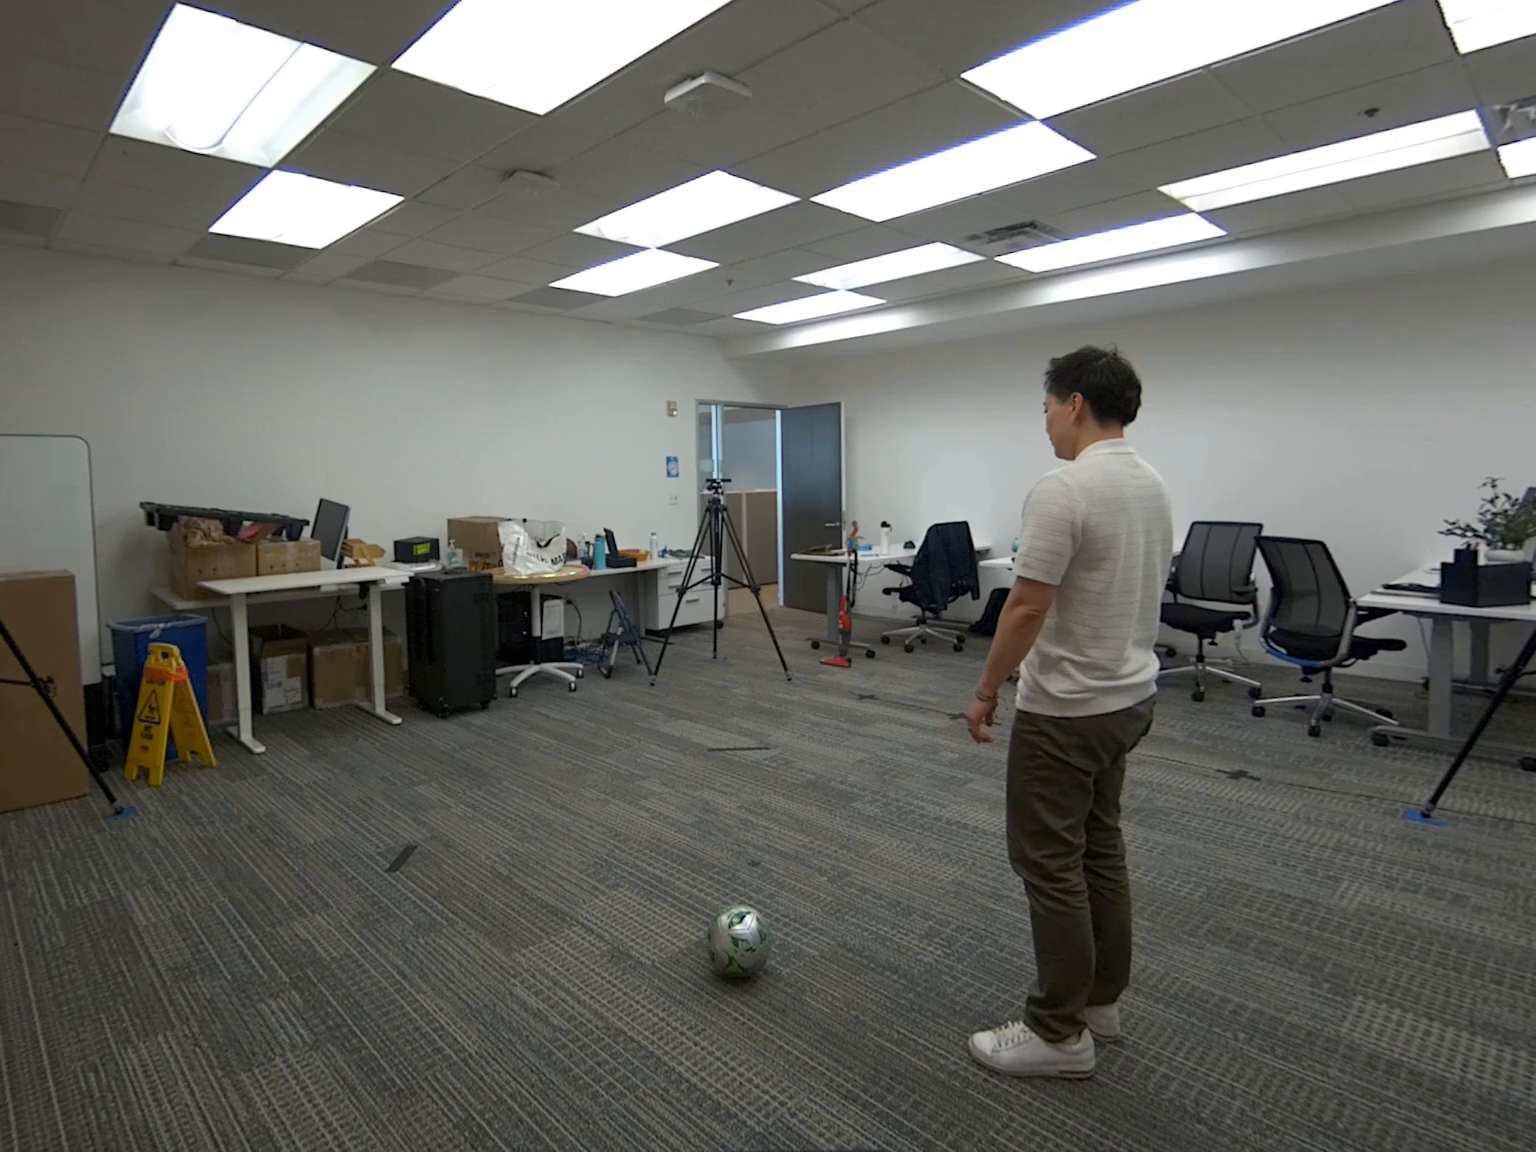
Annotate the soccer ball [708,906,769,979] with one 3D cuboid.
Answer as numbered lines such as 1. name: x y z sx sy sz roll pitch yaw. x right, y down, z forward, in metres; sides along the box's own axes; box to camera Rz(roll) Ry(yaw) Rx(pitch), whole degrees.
1. soccer ball: -0.078 1.034 2.415 0.187 0.187 0.188 -1 5 -2
